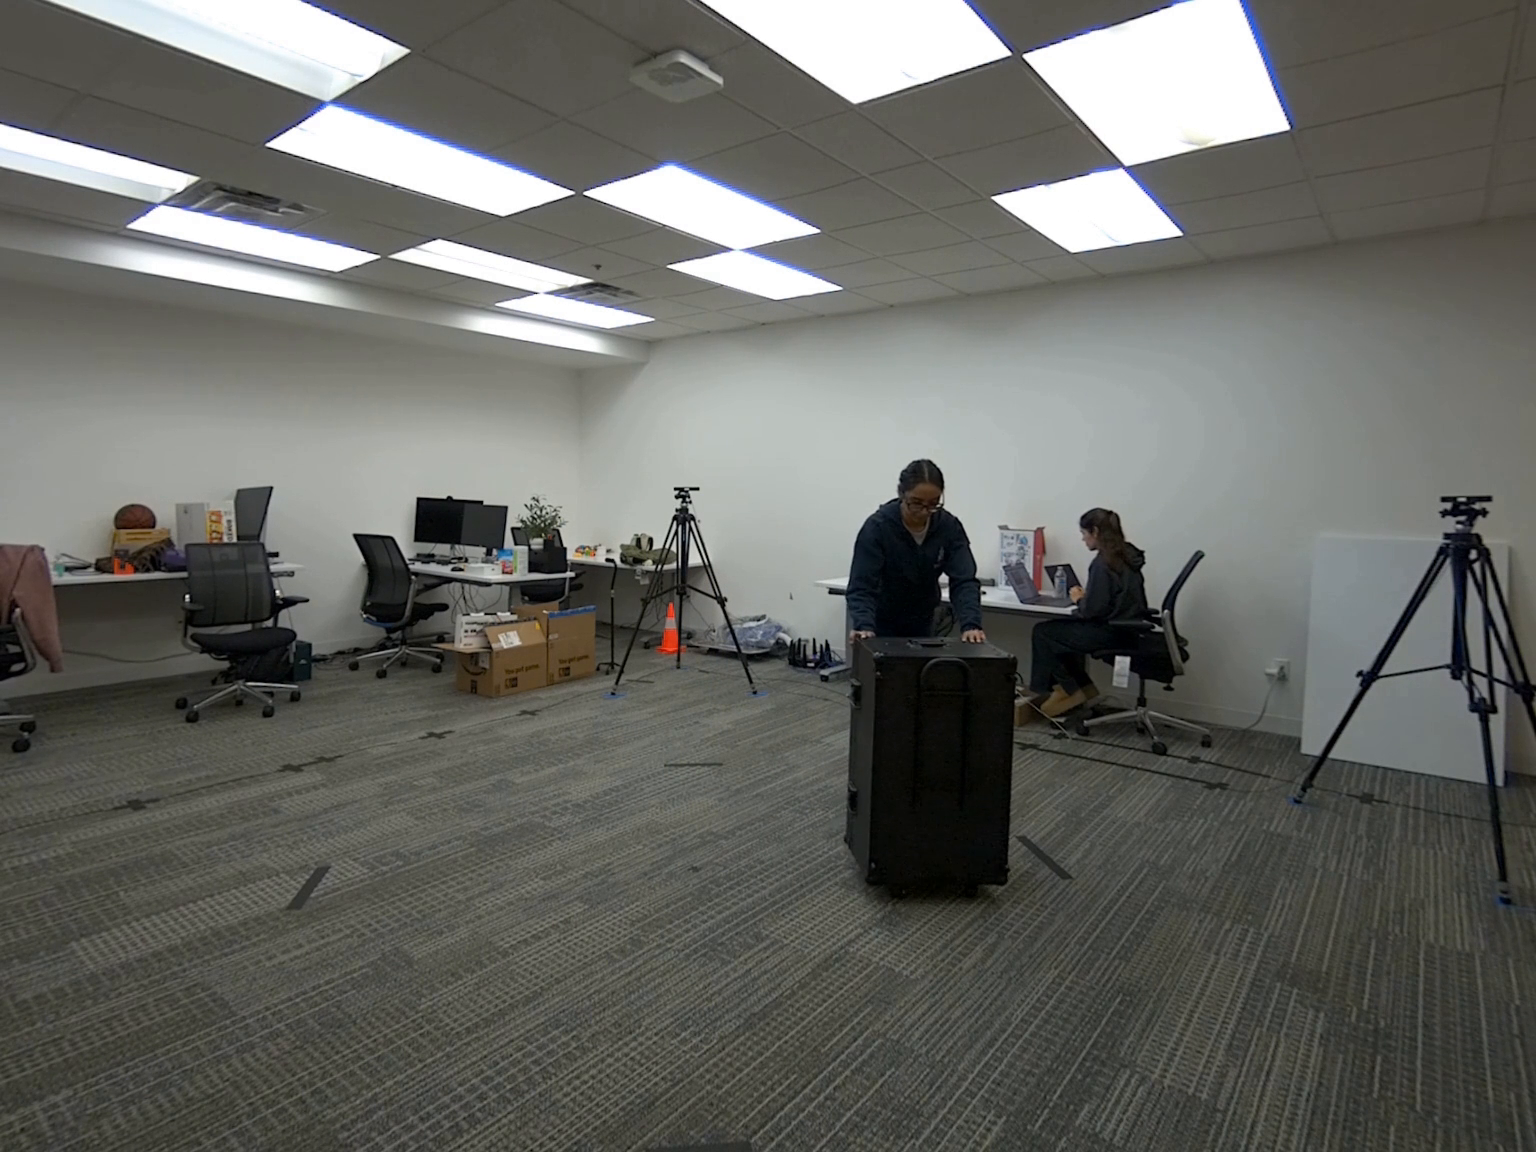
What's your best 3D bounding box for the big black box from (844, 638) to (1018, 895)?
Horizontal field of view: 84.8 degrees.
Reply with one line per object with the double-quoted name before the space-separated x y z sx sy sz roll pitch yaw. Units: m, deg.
"big black box" 0.557 0.667 3.012 0.519 0.858 0.399 1 4 -4
